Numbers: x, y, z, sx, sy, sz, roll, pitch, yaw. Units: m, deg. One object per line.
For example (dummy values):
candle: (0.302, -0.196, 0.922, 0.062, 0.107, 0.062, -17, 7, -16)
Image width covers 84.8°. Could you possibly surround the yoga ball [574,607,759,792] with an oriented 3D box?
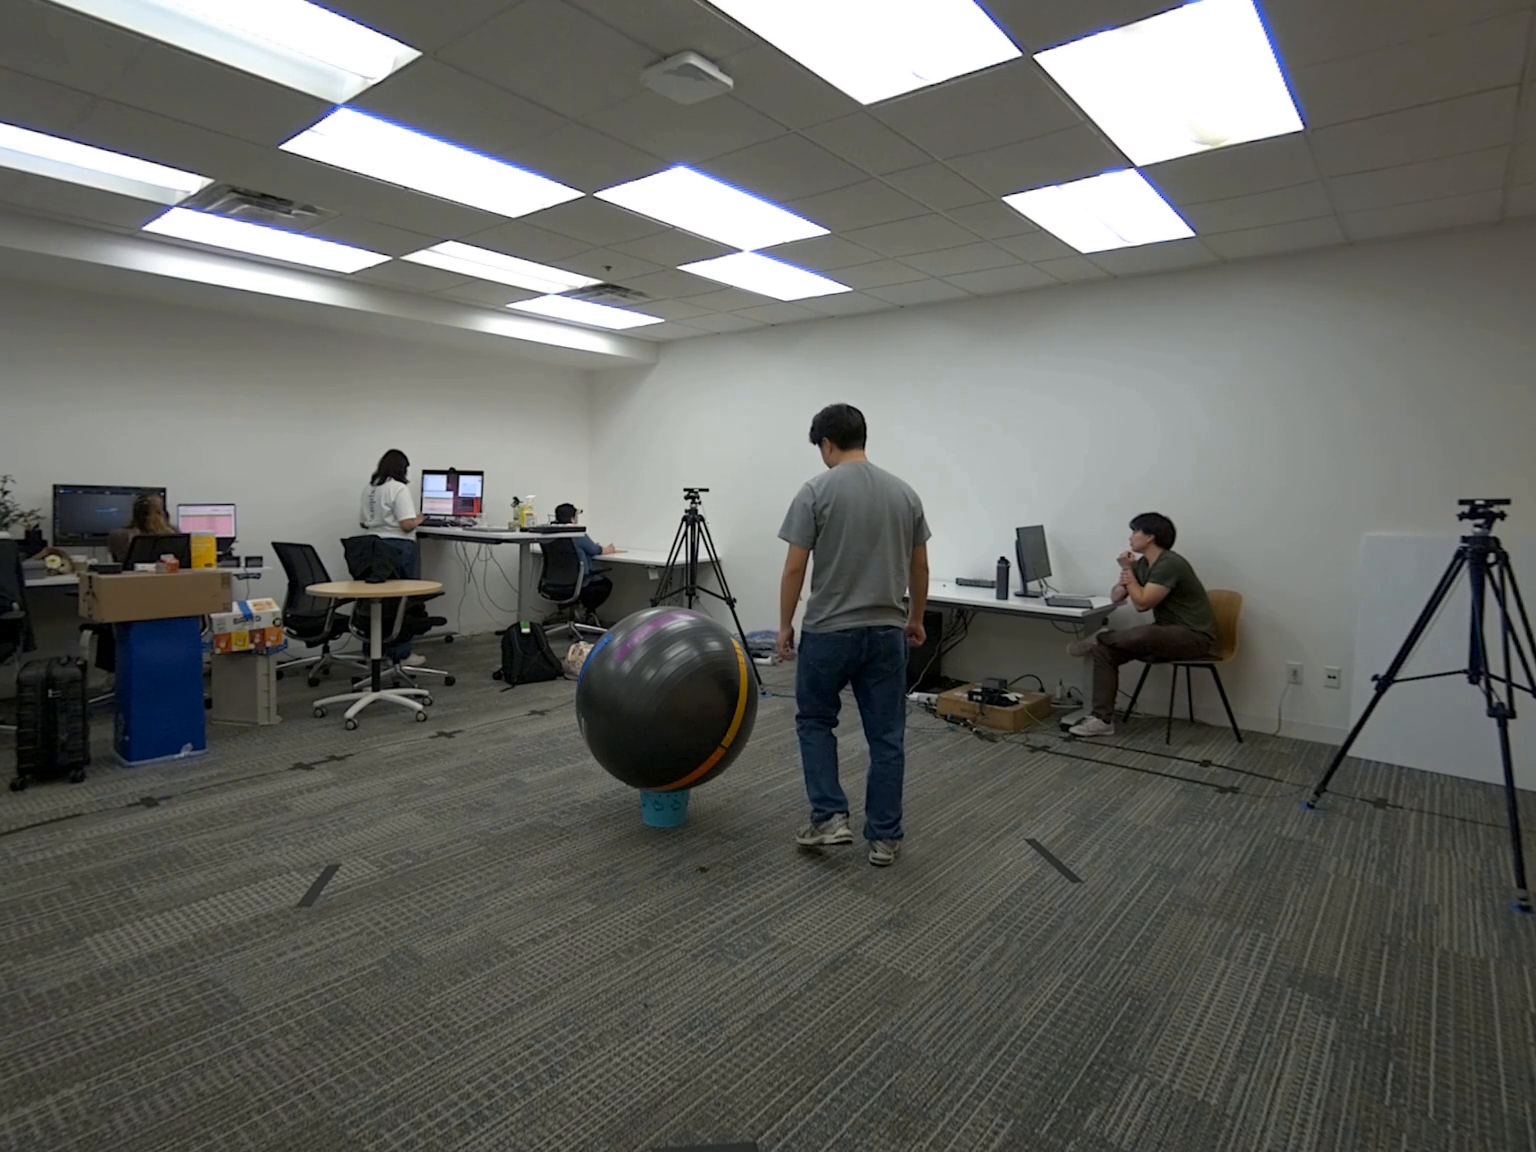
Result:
yoga ball: (-0.438, 0.512, 3.562, 0.757, 0.755, 0.762, 1, 4, -2)
